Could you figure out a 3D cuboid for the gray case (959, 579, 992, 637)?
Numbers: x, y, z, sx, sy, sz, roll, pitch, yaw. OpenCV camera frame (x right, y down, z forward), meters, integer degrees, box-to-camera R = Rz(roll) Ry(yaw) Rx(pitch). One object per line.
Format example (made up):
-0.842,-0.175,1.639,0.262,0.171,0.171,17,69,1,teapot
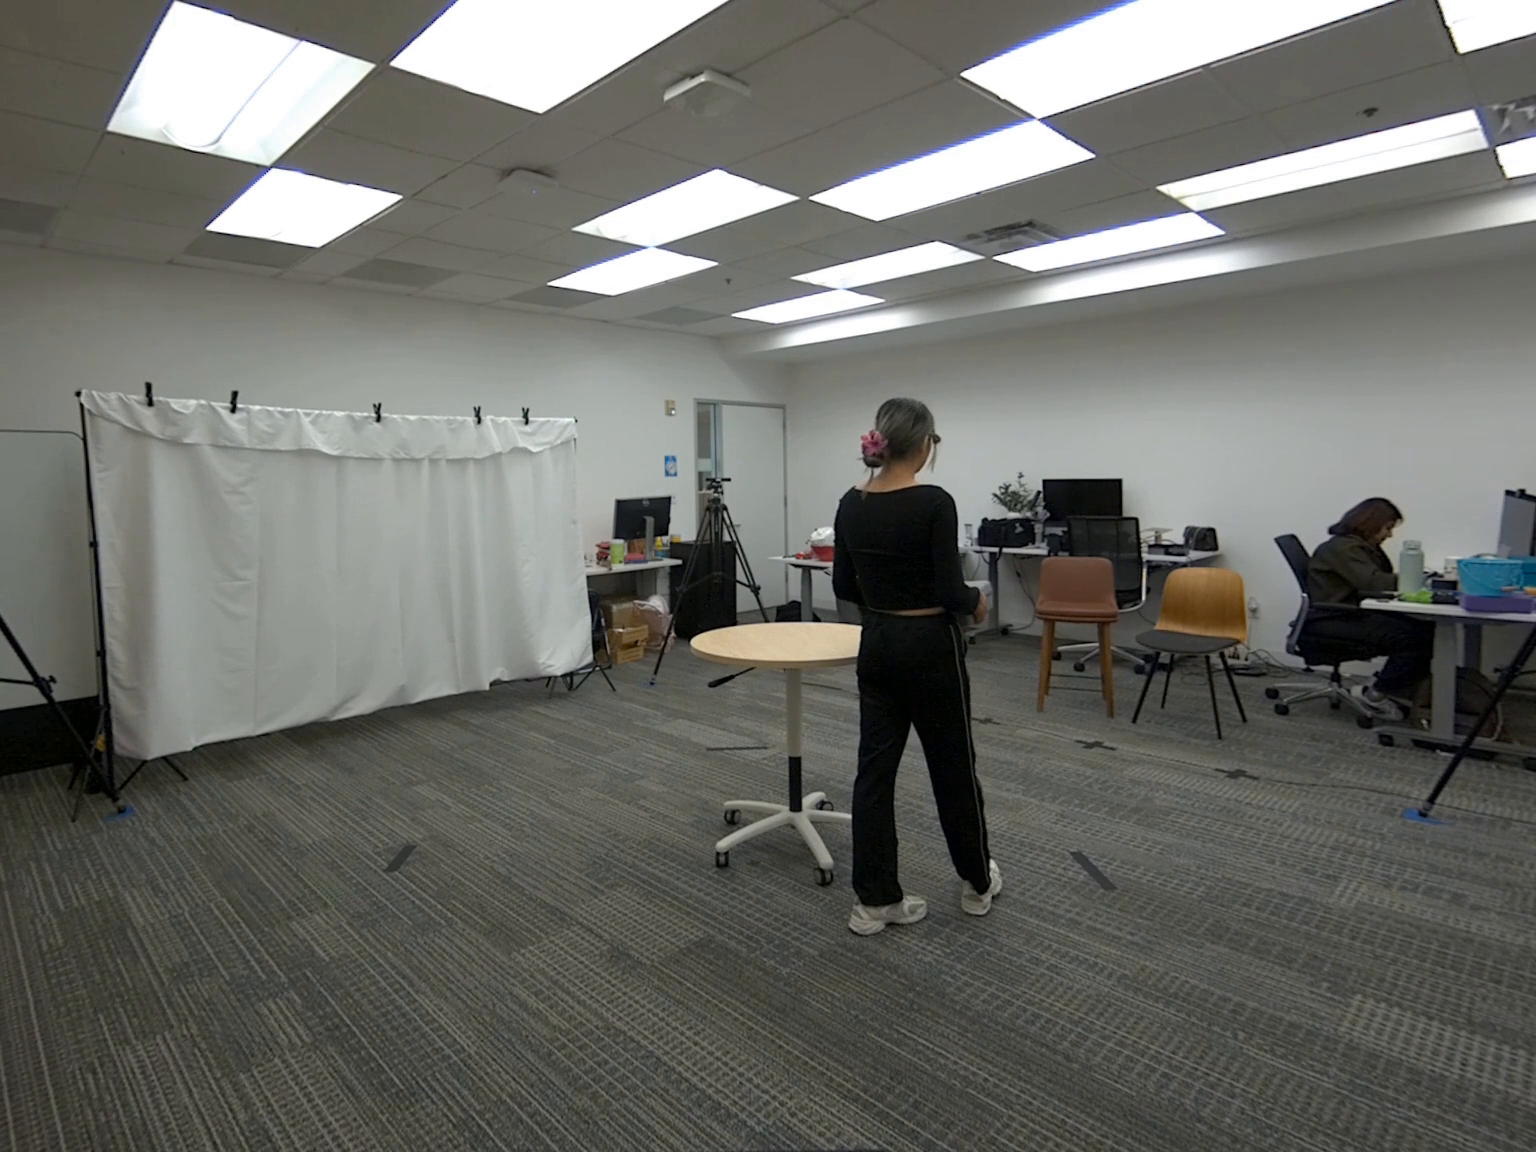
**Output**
0.609,0.092,2.845,0.263,0.103,0.256,-3,12,33,gray case
